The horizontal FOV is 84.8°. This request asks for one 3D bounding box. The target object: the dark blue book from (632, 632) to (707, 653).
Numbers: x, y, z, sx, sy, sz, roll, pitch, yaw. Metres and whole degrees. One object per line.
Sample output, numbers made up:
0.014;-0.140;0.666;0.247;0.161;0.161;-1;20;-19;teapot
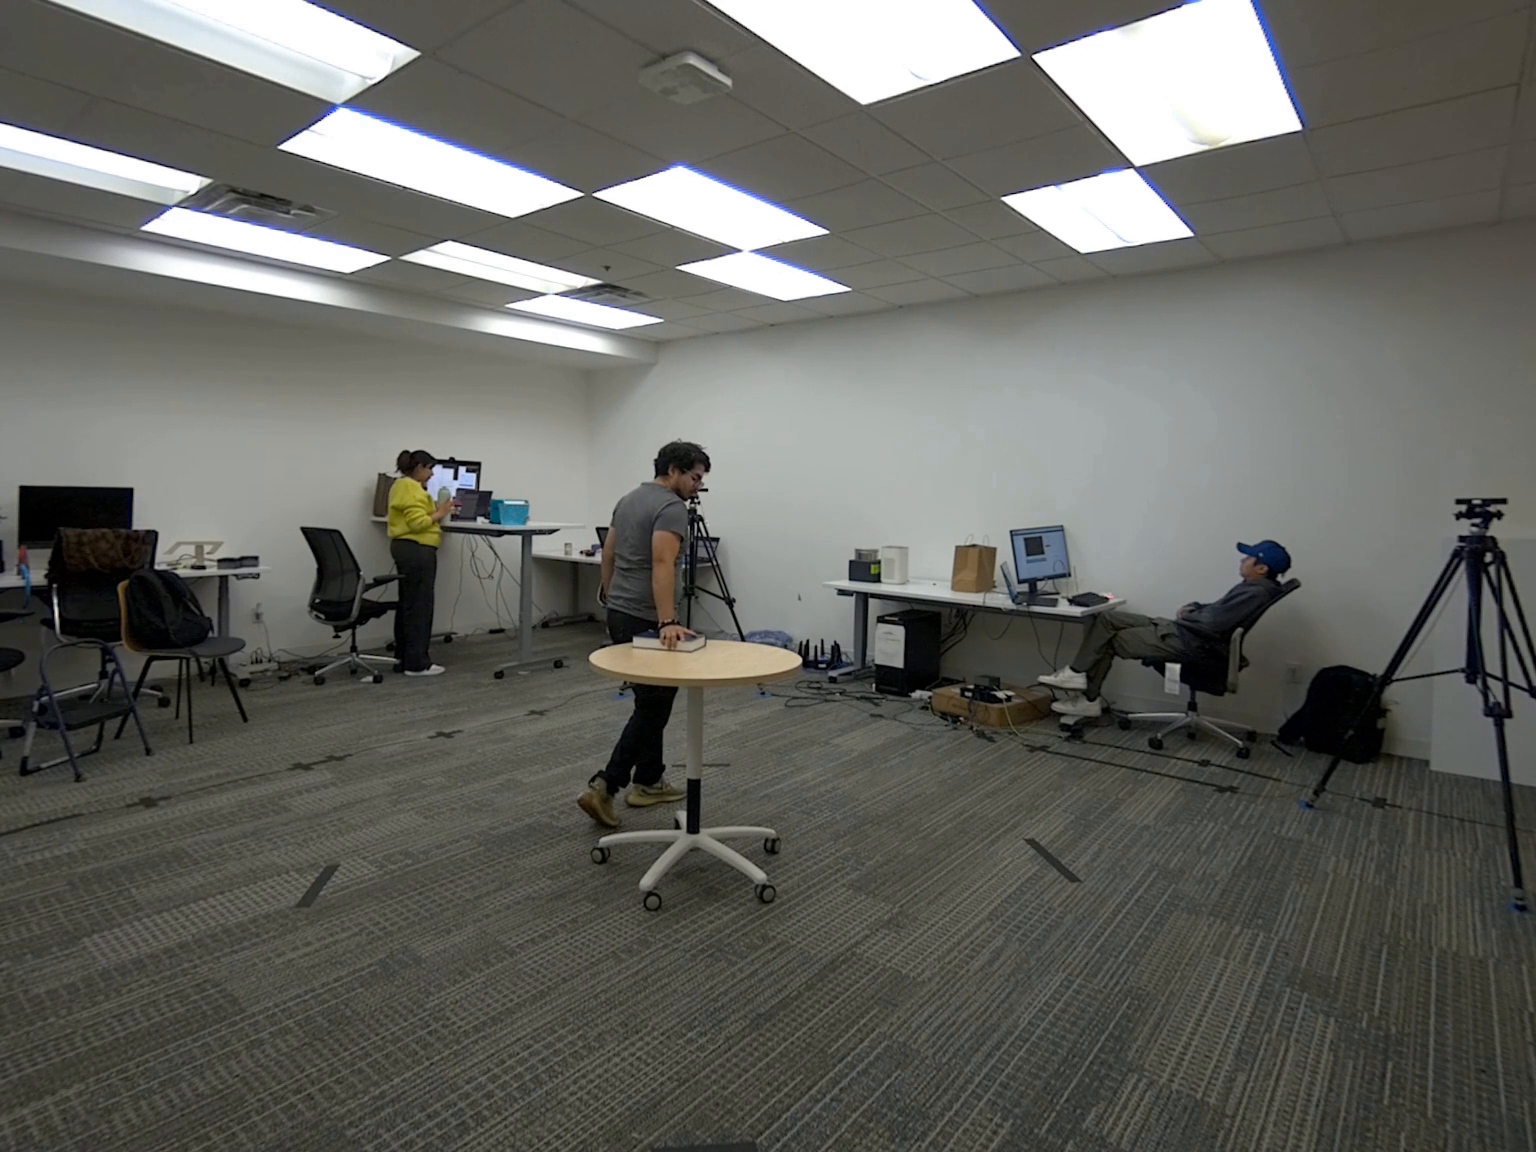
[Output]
-0.386;0.248;3.277;0.250;0.045;0.161;3;5;18;dark blue book
